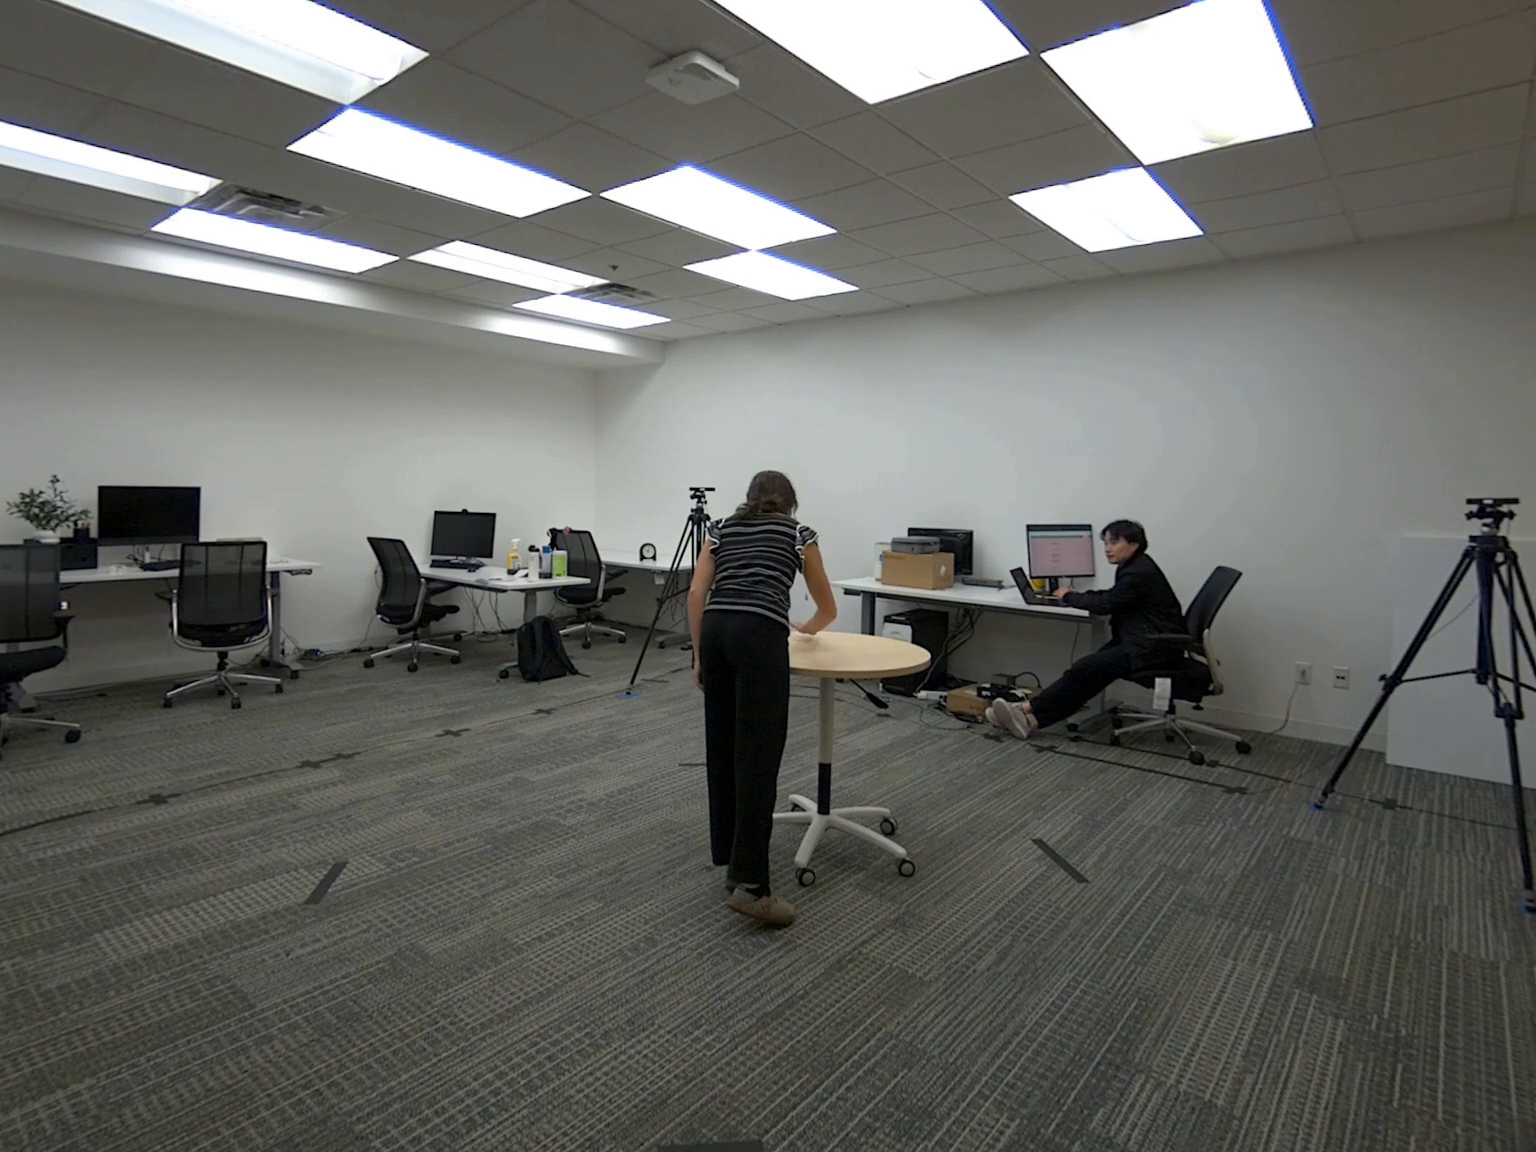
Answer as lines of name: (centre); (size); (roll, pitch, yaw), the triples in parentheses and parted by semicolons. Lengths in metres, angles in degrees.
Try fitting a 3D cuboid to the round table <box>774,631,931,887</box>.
round table: (0.217, 0.668, 3.297); (0.763, 0.791, 0.768); (1, 4, -2)
